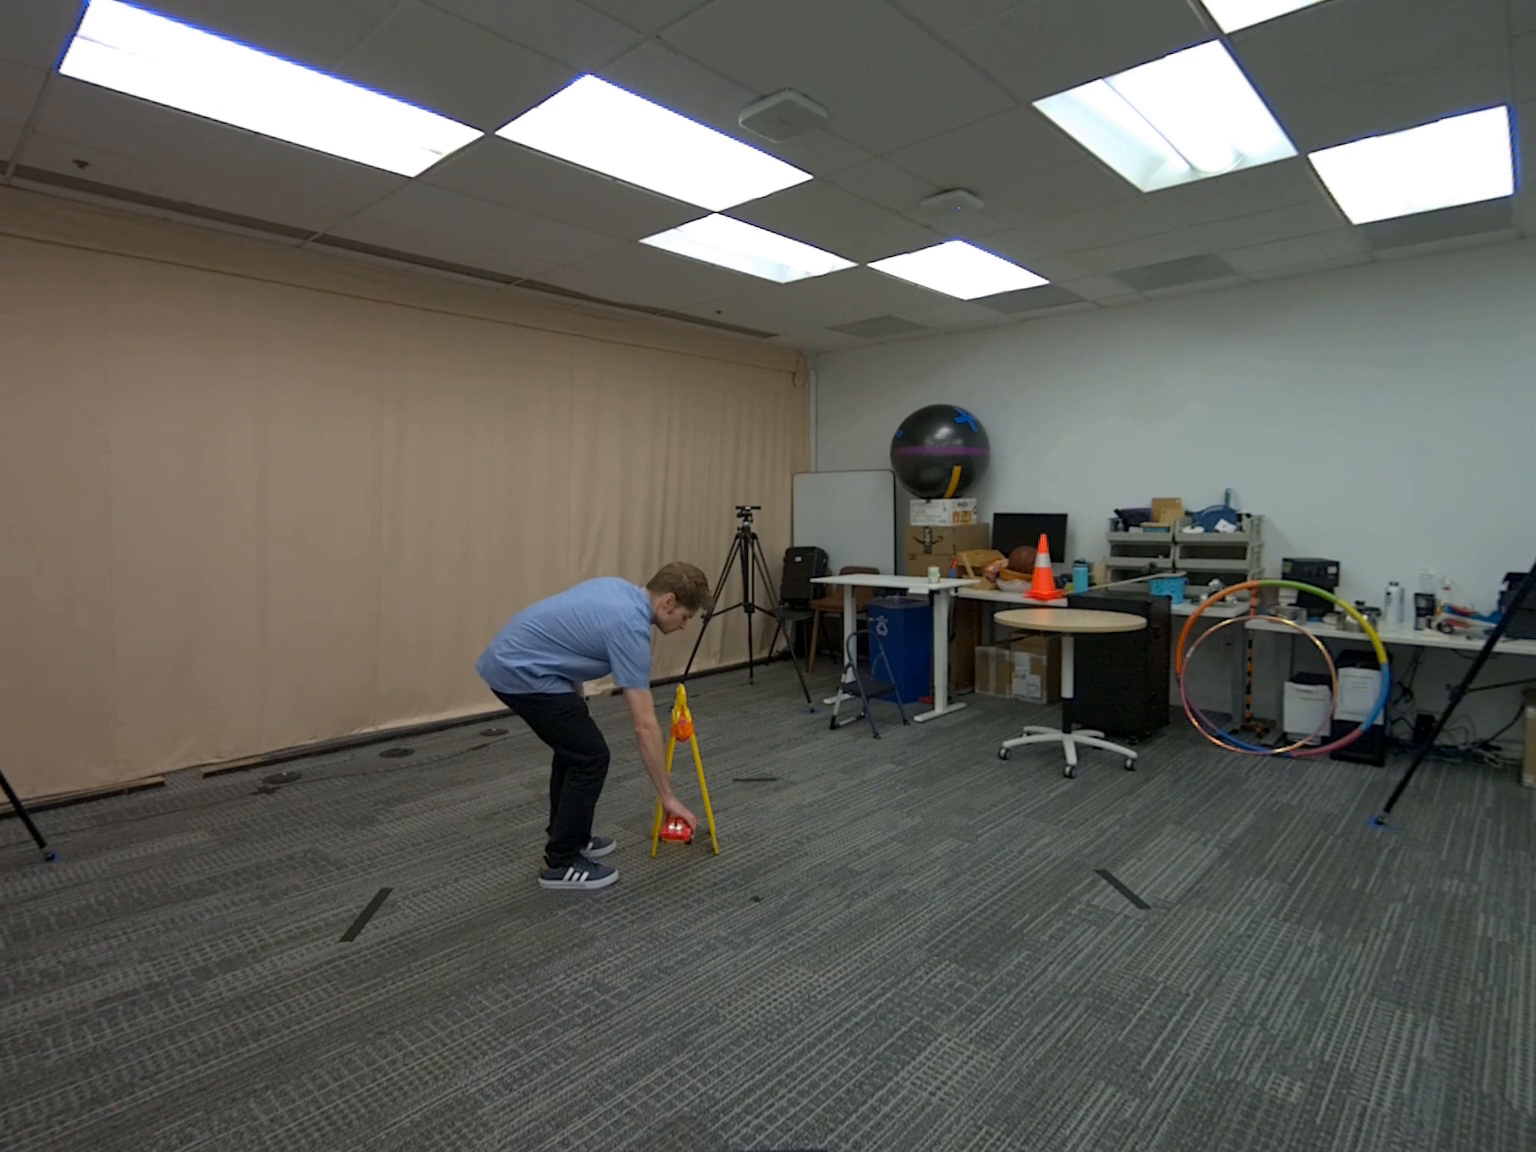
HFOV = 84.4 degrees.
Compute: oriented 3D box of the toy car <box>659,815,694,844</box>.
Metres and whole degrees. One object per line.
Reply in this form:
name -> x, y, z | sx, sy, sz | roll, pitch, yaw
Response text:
toy car -> -0.328, 0.898, 2.997 | 0.131, 0.084, 0.251 | 3, -9, 4
